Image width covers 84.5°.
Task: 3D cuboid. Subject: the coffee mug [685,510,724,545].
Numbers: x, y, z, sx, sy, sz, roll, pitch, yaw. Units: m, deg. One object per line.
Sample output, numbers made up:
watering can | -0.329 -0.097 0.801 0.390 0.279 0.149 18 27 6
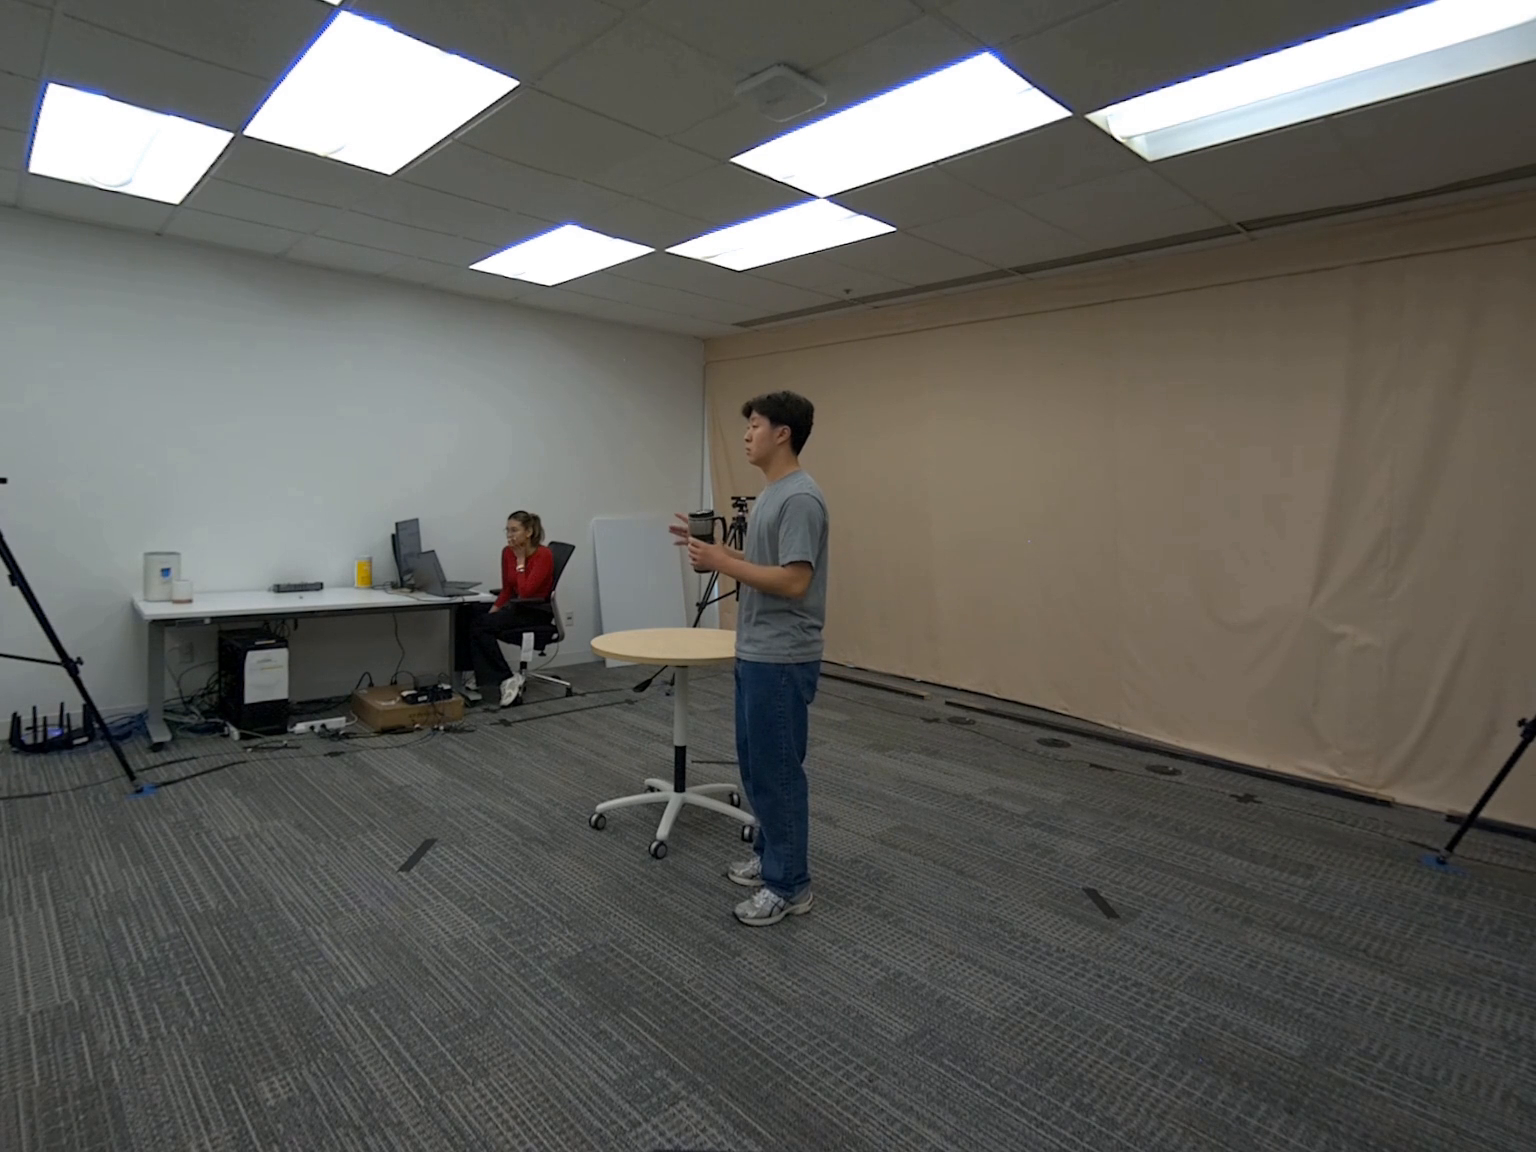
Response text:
coffee mug | -0.195 -0.113 2.762 0.124 0.201 0.087 -1 11 20
